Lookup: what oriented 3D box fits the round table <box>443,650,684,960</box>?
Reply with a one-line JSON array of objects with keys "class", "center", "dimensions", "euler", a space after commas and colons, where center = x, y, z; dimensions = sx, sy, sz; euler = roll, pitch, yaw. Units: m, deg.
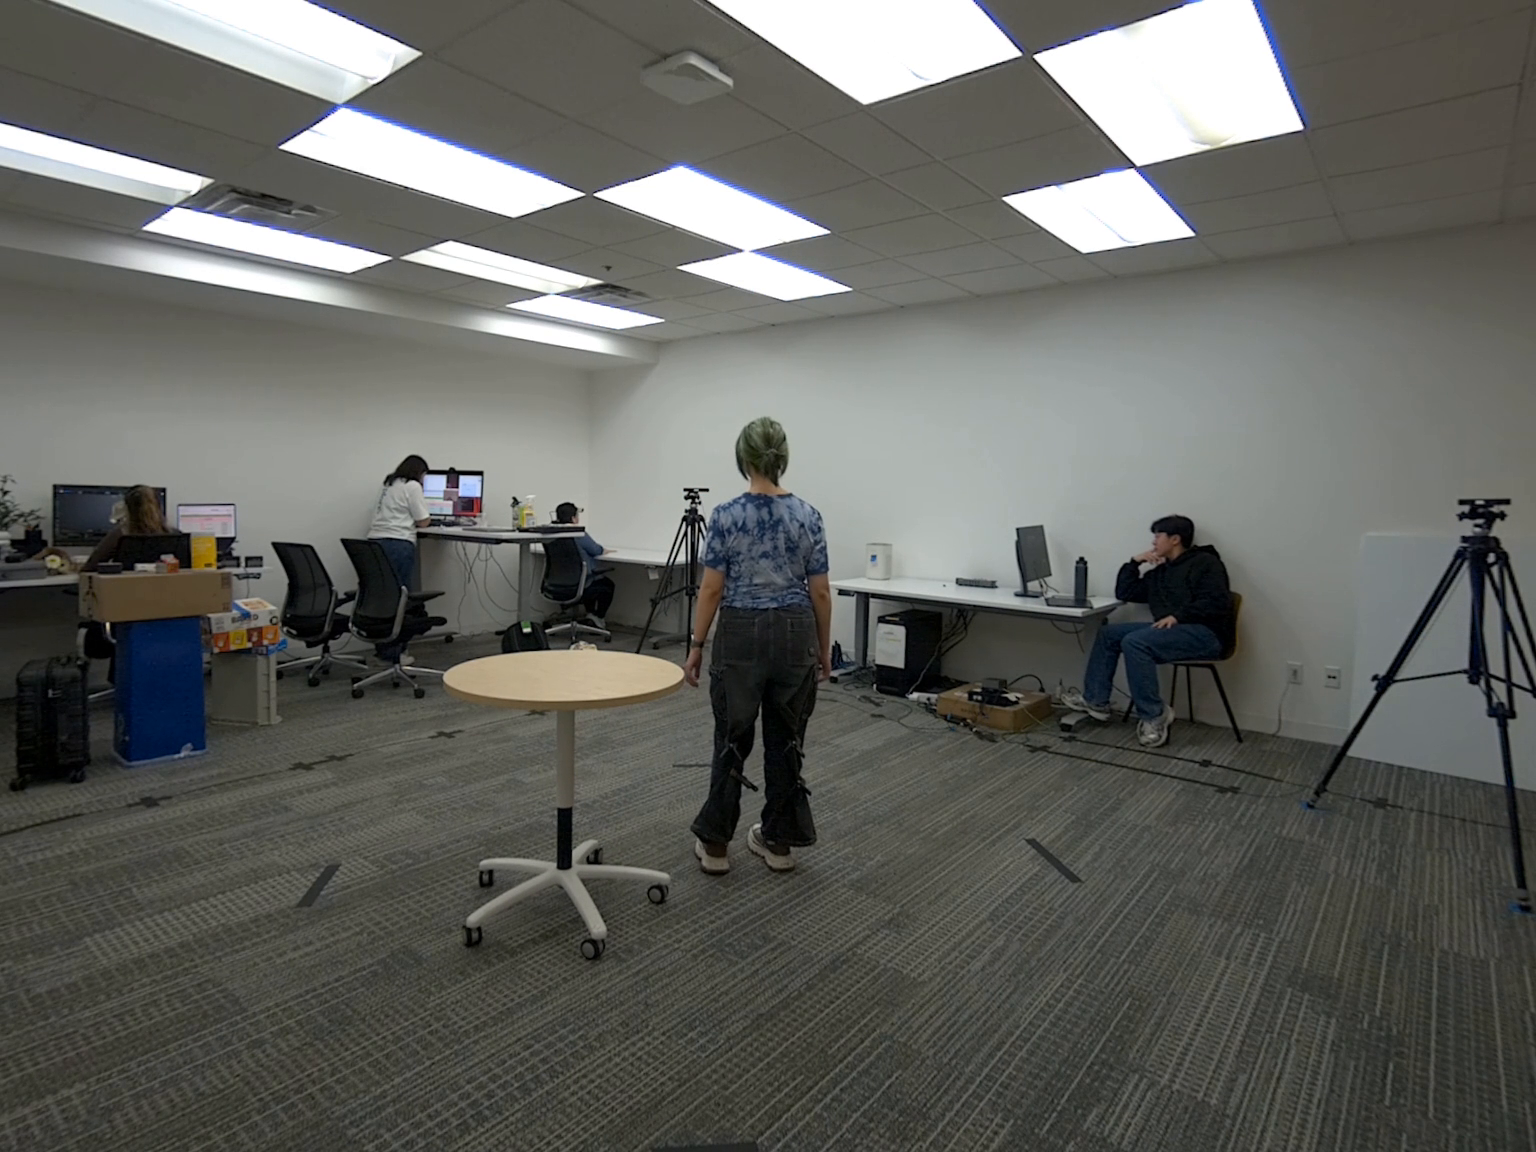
[{"class": "round table", "center": [-0.675, 0.705, 2.781], "dimensions": [0.763, 0.791, 0.768], "euler": [1, 4, -2]}]
